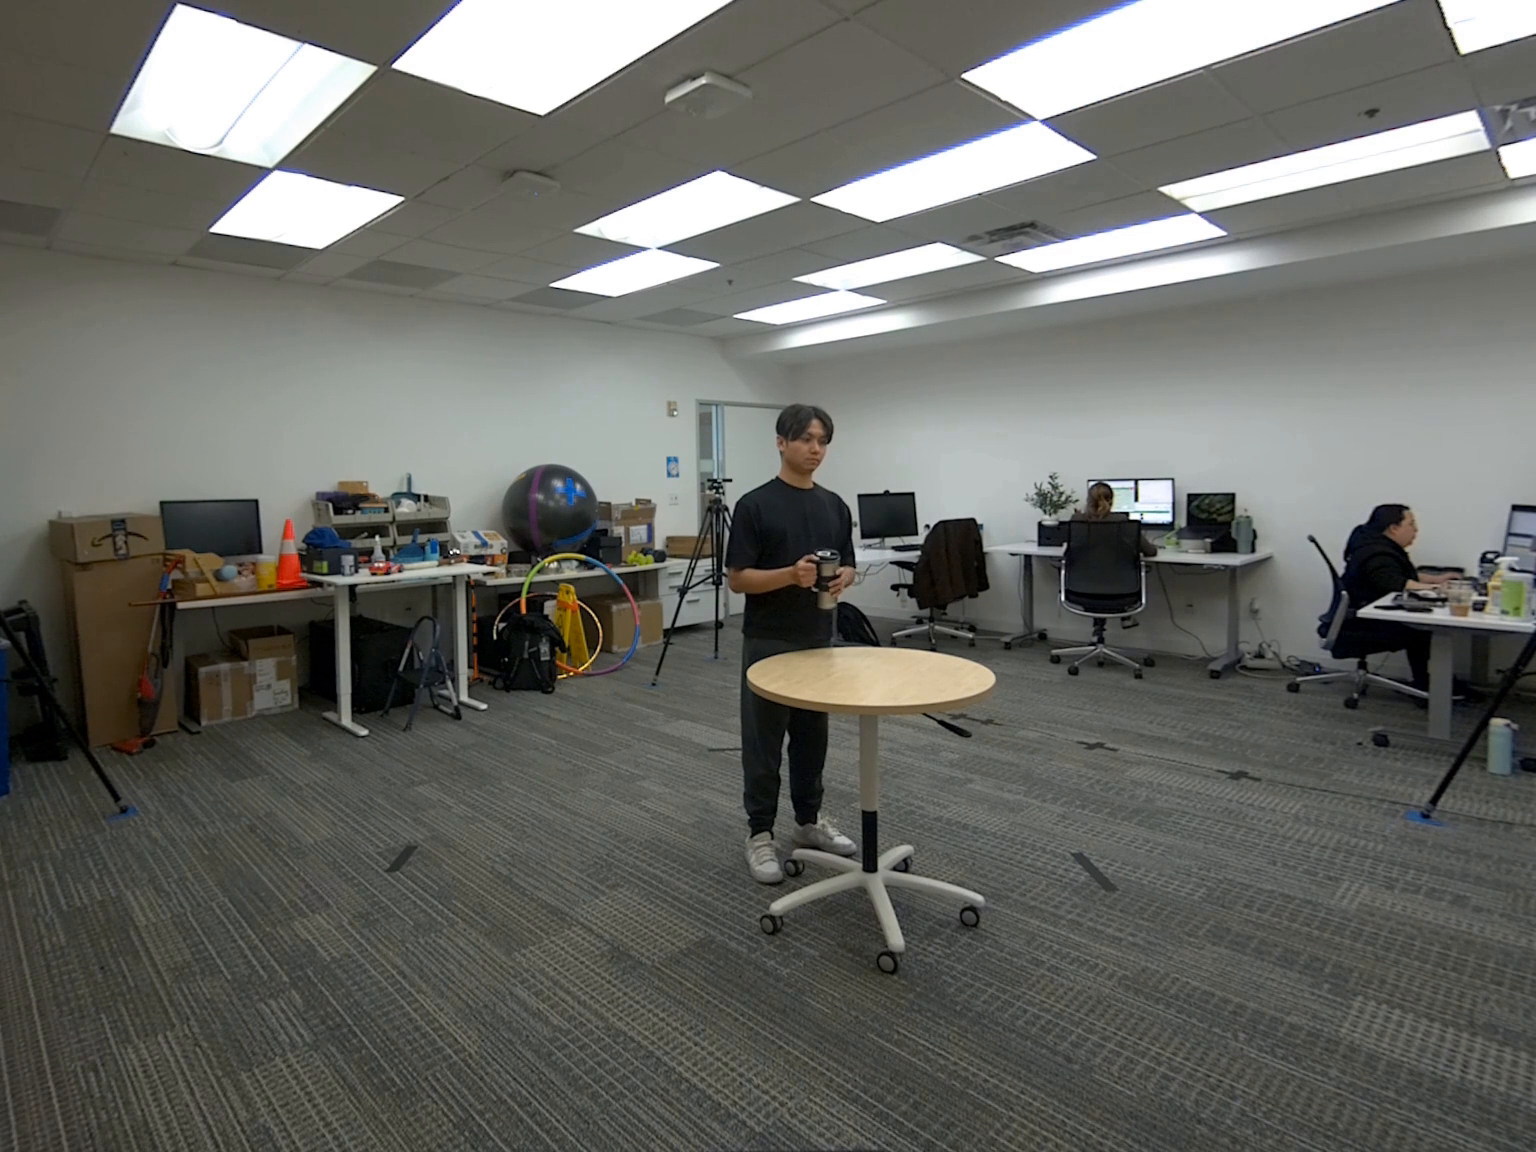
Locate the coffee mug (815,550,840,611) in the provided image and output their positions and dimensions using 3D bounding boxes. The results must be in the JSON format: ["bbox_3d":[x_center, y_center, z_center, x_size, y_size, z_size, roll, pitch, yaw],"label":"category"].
[{"bbox_3d":[0.171,0.018,2.905,0.125,0.199,0.087,9,24,32],"label":"coffee mug"}]
